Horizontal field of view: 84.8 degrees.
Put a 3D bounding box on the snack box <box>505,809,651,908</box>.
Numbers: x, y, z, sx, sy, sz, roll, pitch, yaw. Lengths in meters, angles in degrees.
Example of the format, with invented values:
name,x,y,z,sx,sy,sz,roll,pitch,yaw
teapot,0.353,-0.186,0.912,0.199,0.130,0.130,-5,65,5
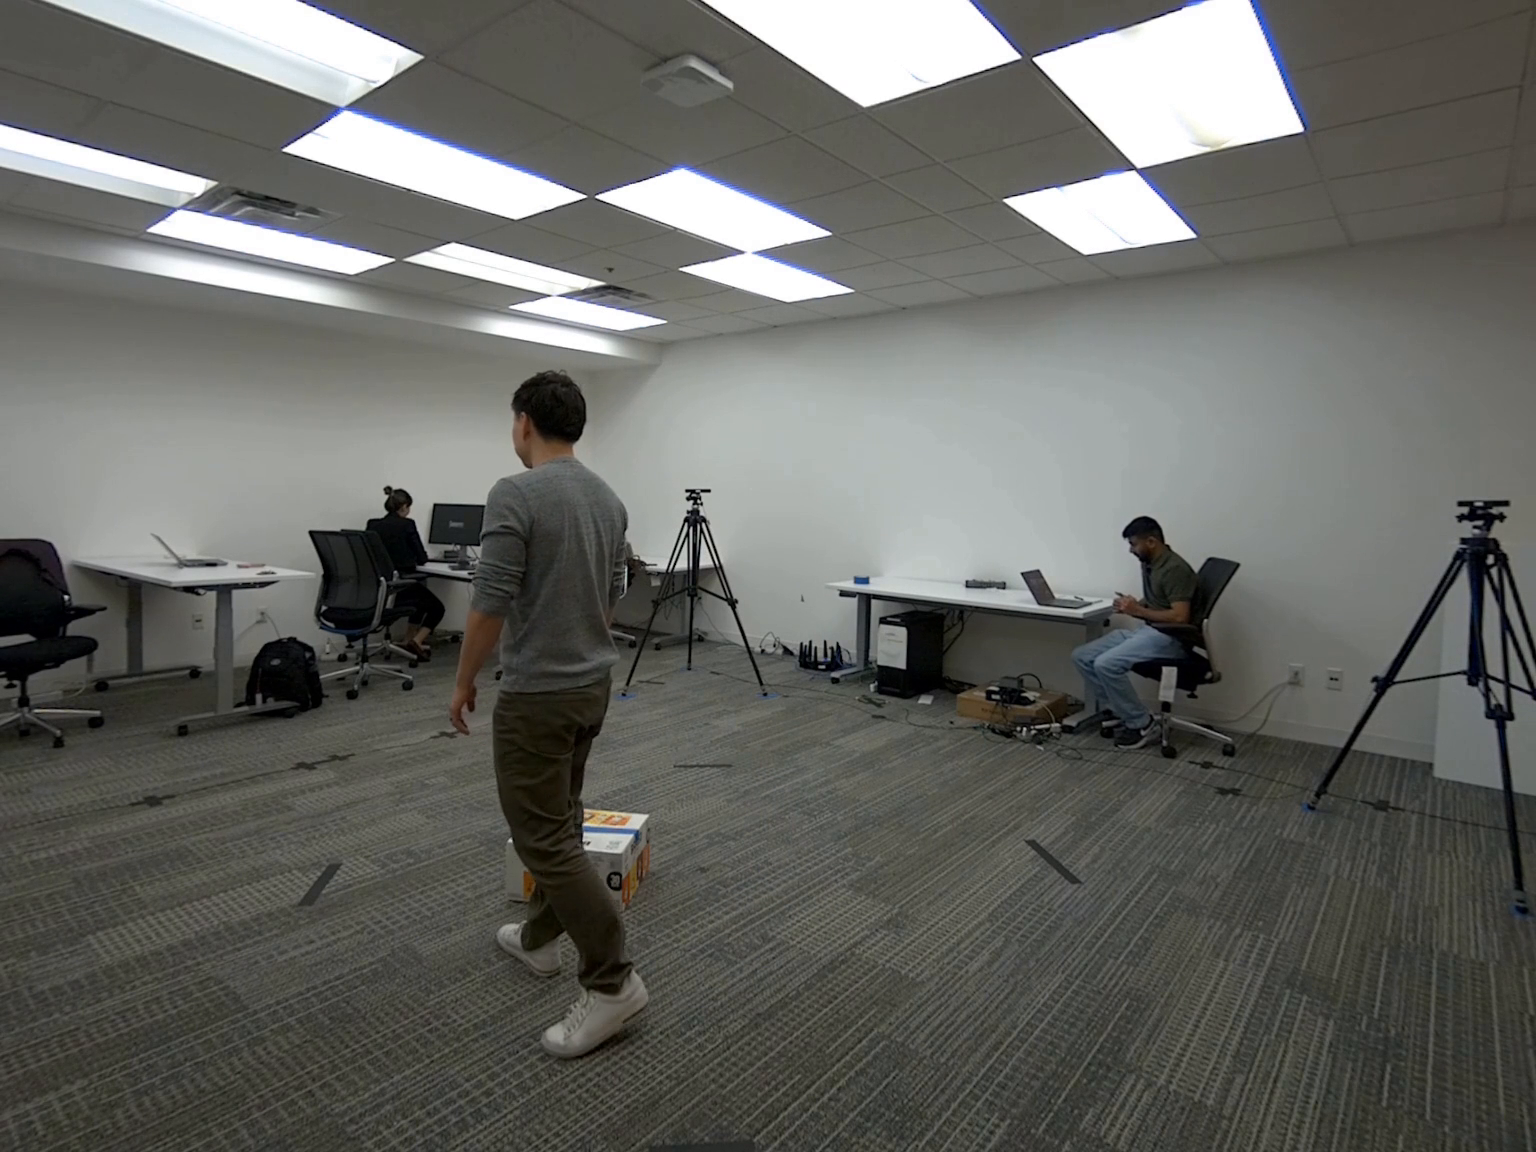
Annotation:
name,x,y,z,sx,sy,sz,roll,pitch,yaw
snack box,-0.662,0.982,2.963,0.410,0.205,0.338,2,5,9
